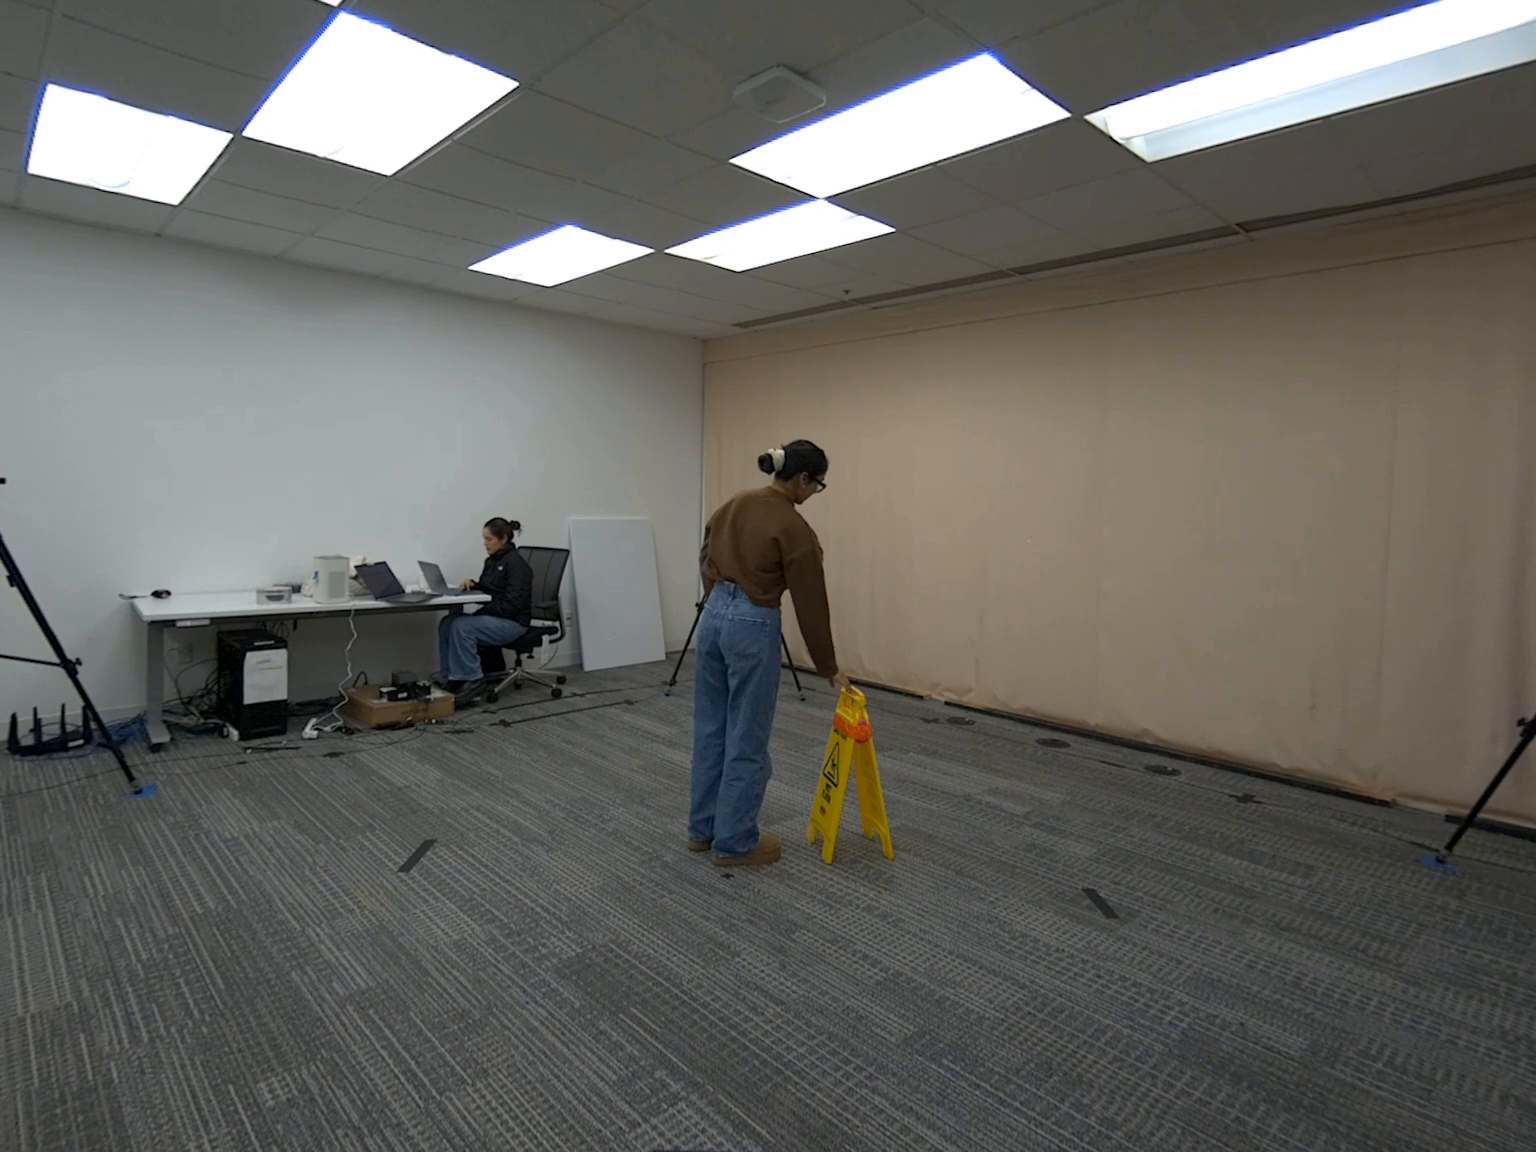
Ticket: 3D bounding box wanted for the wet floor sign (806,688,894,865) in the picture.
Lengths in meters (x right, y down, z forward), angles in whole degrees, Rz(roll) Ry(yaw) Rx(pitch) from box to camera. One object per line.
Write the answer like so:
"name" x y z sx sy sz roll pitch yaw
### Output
"wet floor sign" 0.322 0.769 3.364 0.286 0.644 0.286 1 4 -14
